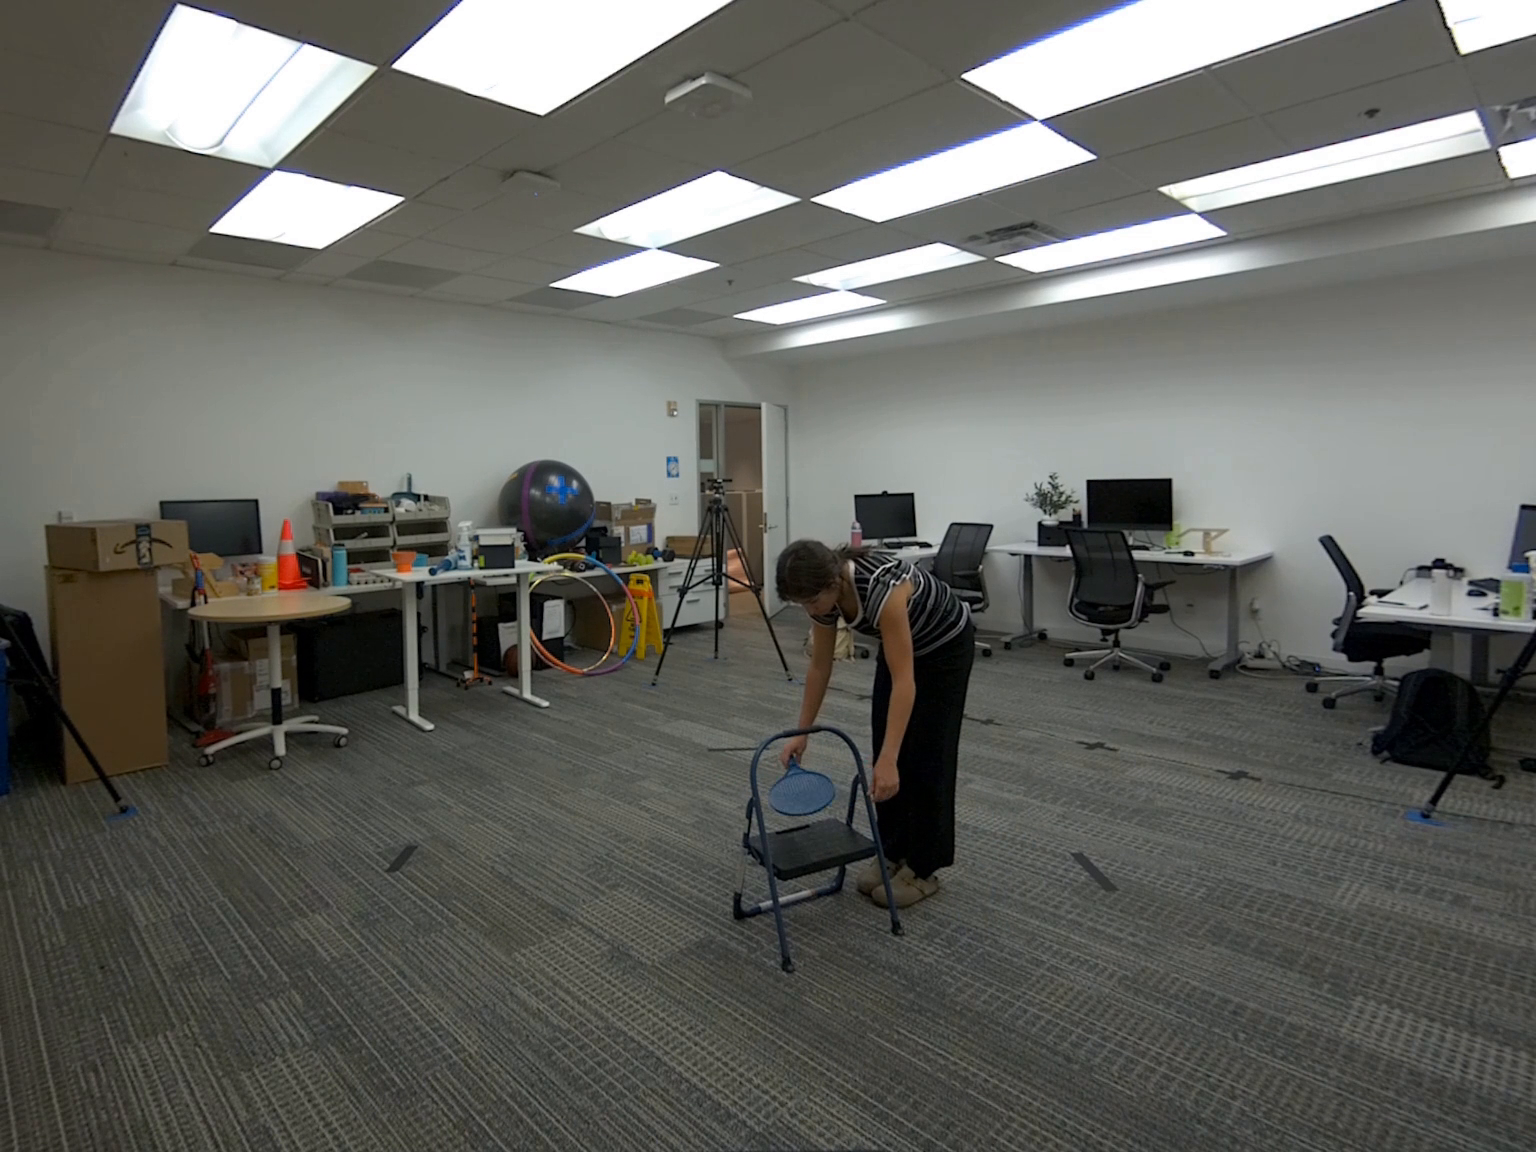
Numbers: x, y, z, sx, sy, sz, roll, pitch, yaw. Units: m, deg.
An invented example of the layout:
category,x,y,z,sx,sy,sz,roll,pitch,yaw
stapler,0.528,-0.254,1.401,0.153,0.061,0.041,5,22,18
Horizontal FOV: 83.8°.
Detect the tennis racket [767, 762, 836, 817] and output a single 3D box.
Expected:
category,x,y,z,sx,sy,sz,roll,pitch,yaw
tennis racket,0.119,0.675,2.774,0.213,0.031,0.440,-14,15,-5
